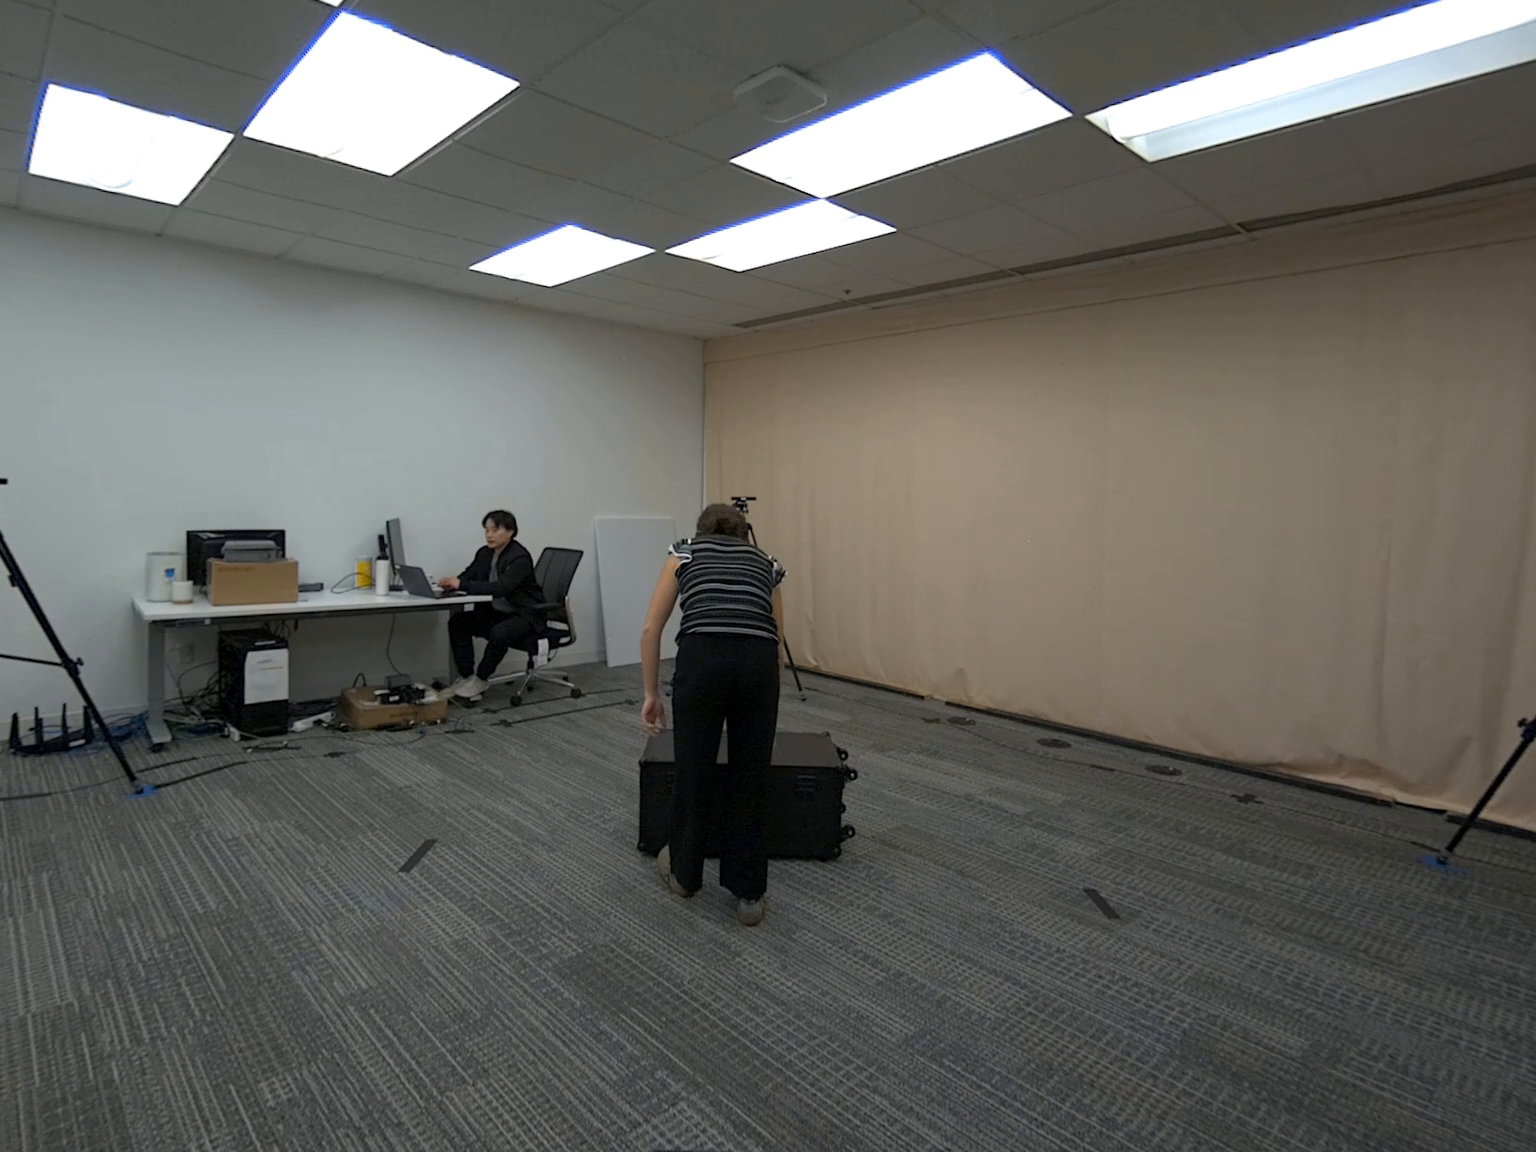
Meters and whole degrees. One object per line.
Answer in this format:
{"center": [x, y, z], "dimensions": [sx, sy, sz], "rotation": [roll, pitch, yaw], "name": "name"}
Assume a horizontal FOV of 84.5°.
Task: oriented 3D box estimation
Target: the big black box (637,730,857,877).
{"center": [-0.089, 0.884, 3.463], "dimensions": [0.861, 0.395, 0.523], "rotation": [1, 4, -2], "name": "big black box"}
